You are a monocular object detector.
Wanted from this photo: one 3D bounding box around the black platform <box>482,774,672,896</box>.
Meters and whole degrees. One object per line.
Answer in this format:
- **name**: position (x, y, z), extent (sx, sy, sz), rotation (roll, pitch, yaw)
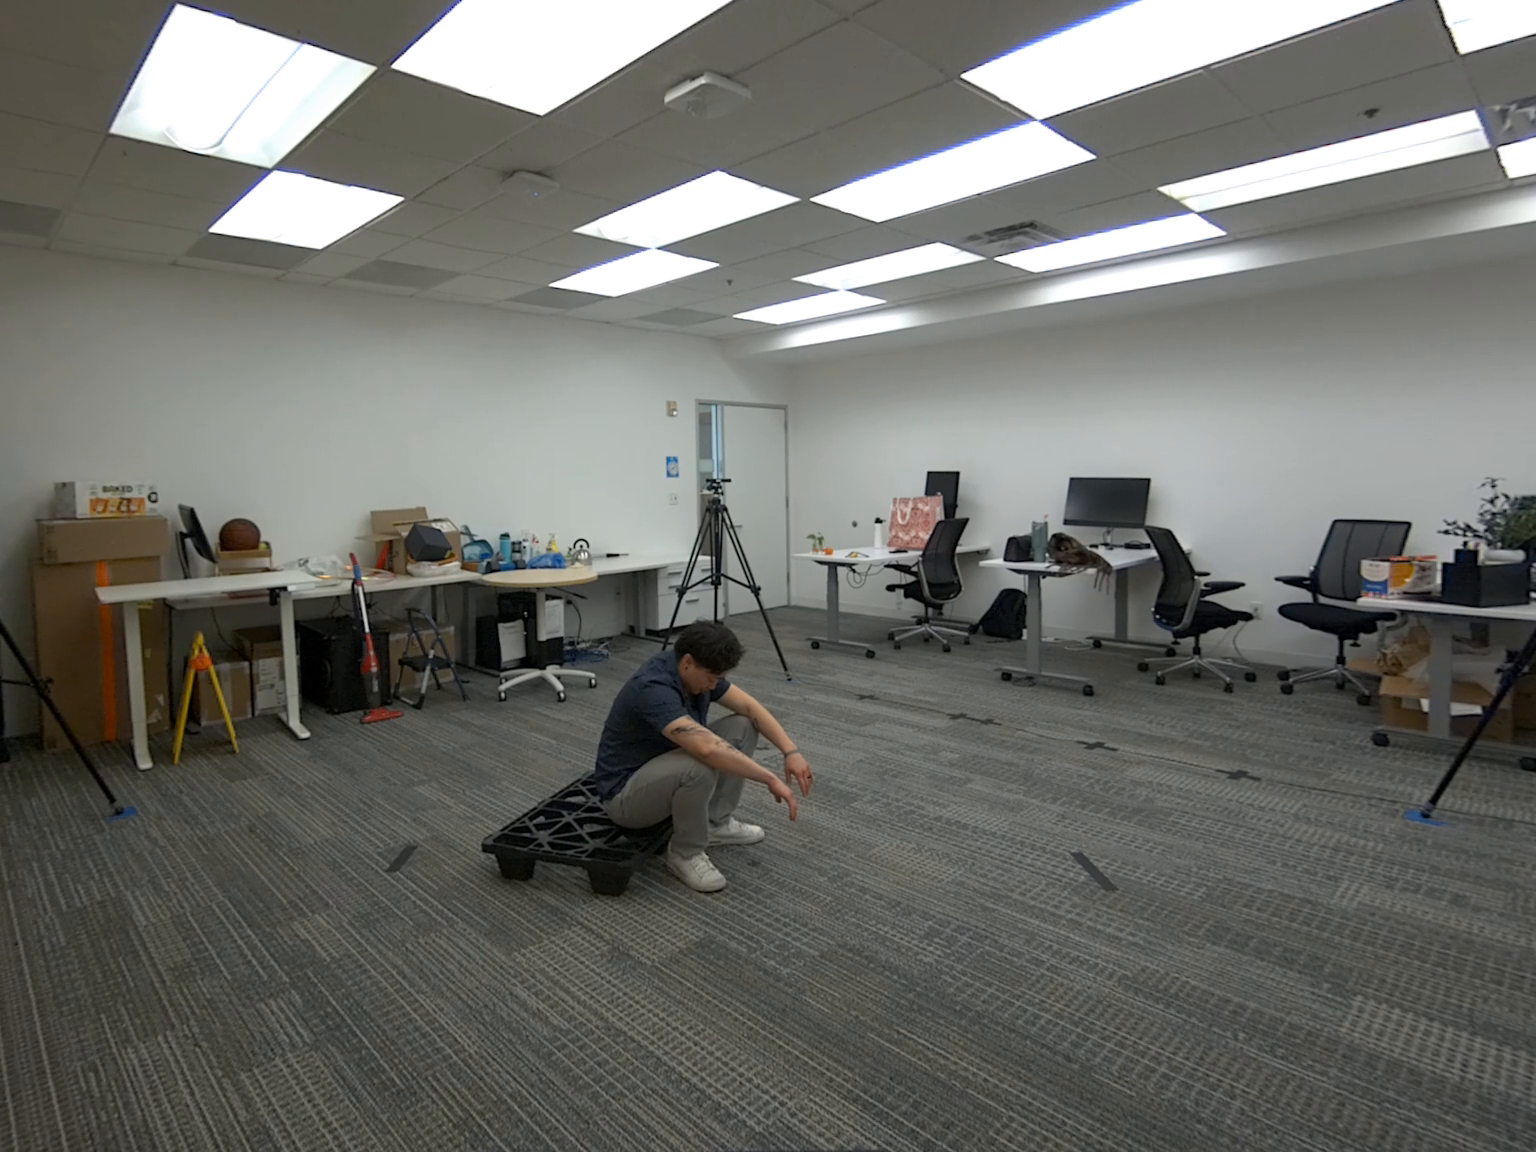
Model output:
- **black platform**: position (-0.609, 0.967, 3.292), extent (0.616, 0.143, 0.794), rotation (1, 7, 18)
